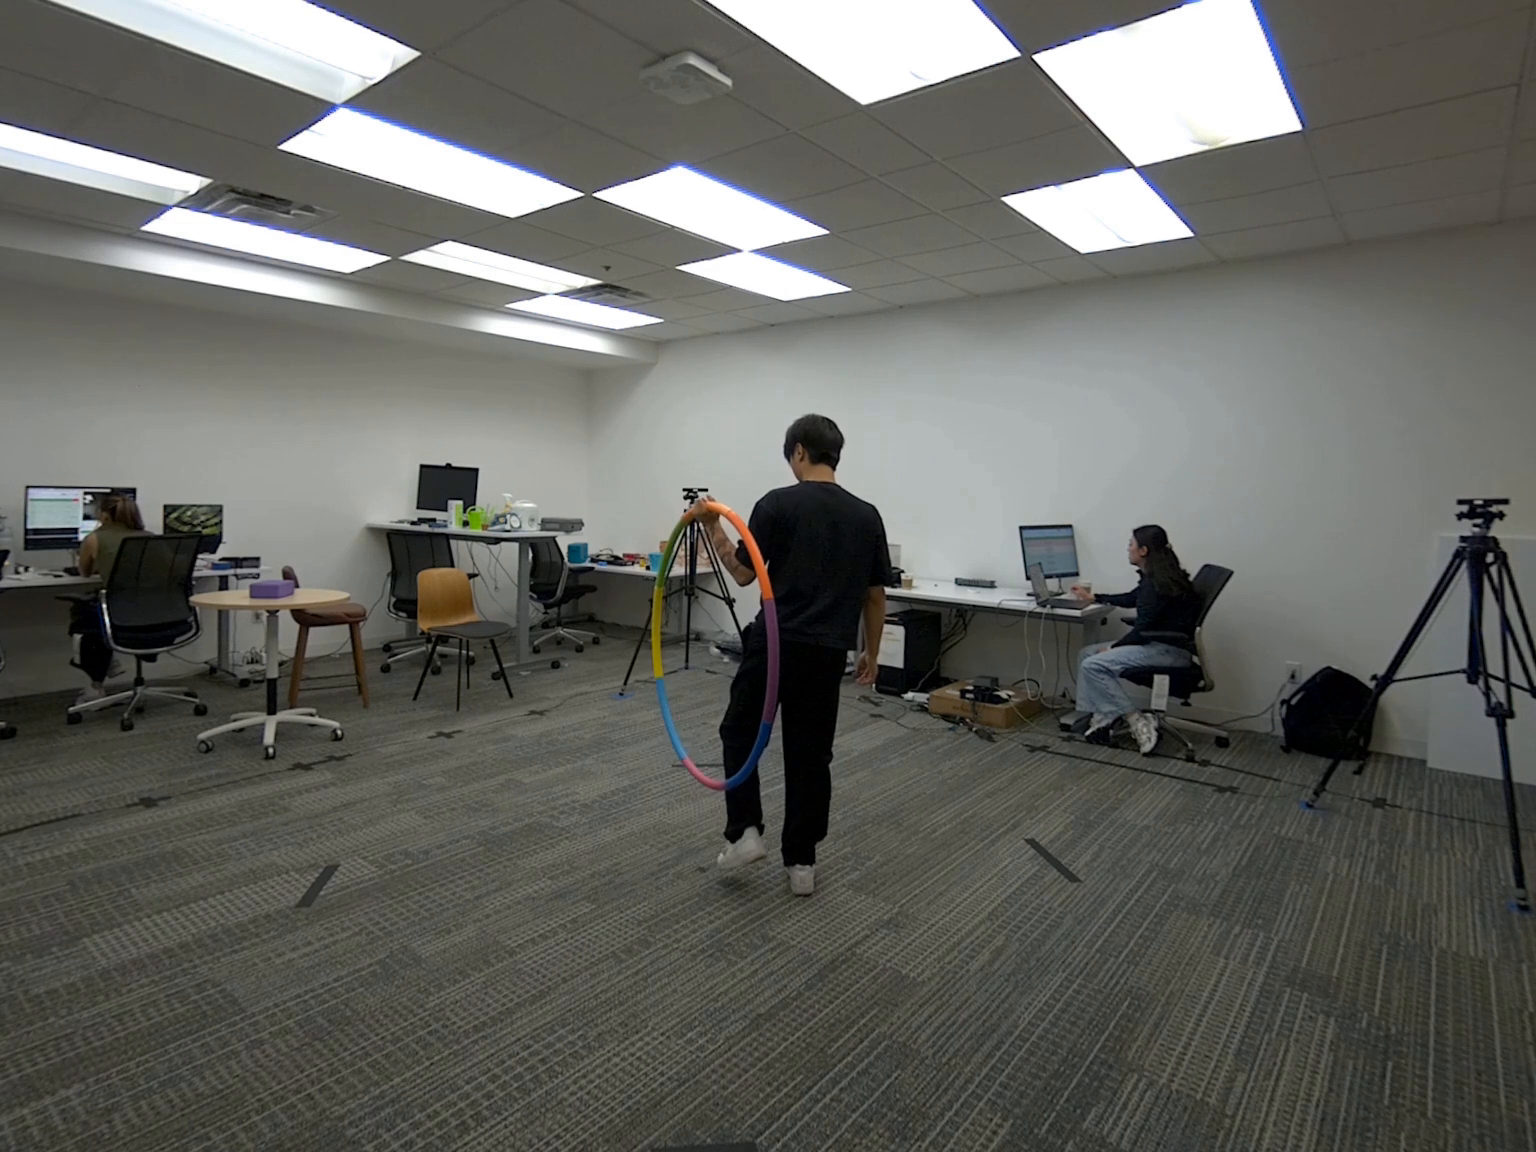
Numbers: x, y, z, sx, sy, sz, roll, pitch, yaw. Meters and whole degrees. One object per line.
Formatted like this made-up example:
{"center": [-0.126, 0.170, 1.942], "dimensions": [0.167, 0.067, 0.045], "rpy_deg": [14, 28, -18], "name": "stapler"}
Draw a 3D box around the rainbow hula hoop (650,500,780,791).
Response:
{"center": [-0.232, 0.228, 2.979], "dimensions": [0.034, 0.975, 1.007], "rpy_deg": [-1, 5, -29], "name": "rainbow hula hoop"}
